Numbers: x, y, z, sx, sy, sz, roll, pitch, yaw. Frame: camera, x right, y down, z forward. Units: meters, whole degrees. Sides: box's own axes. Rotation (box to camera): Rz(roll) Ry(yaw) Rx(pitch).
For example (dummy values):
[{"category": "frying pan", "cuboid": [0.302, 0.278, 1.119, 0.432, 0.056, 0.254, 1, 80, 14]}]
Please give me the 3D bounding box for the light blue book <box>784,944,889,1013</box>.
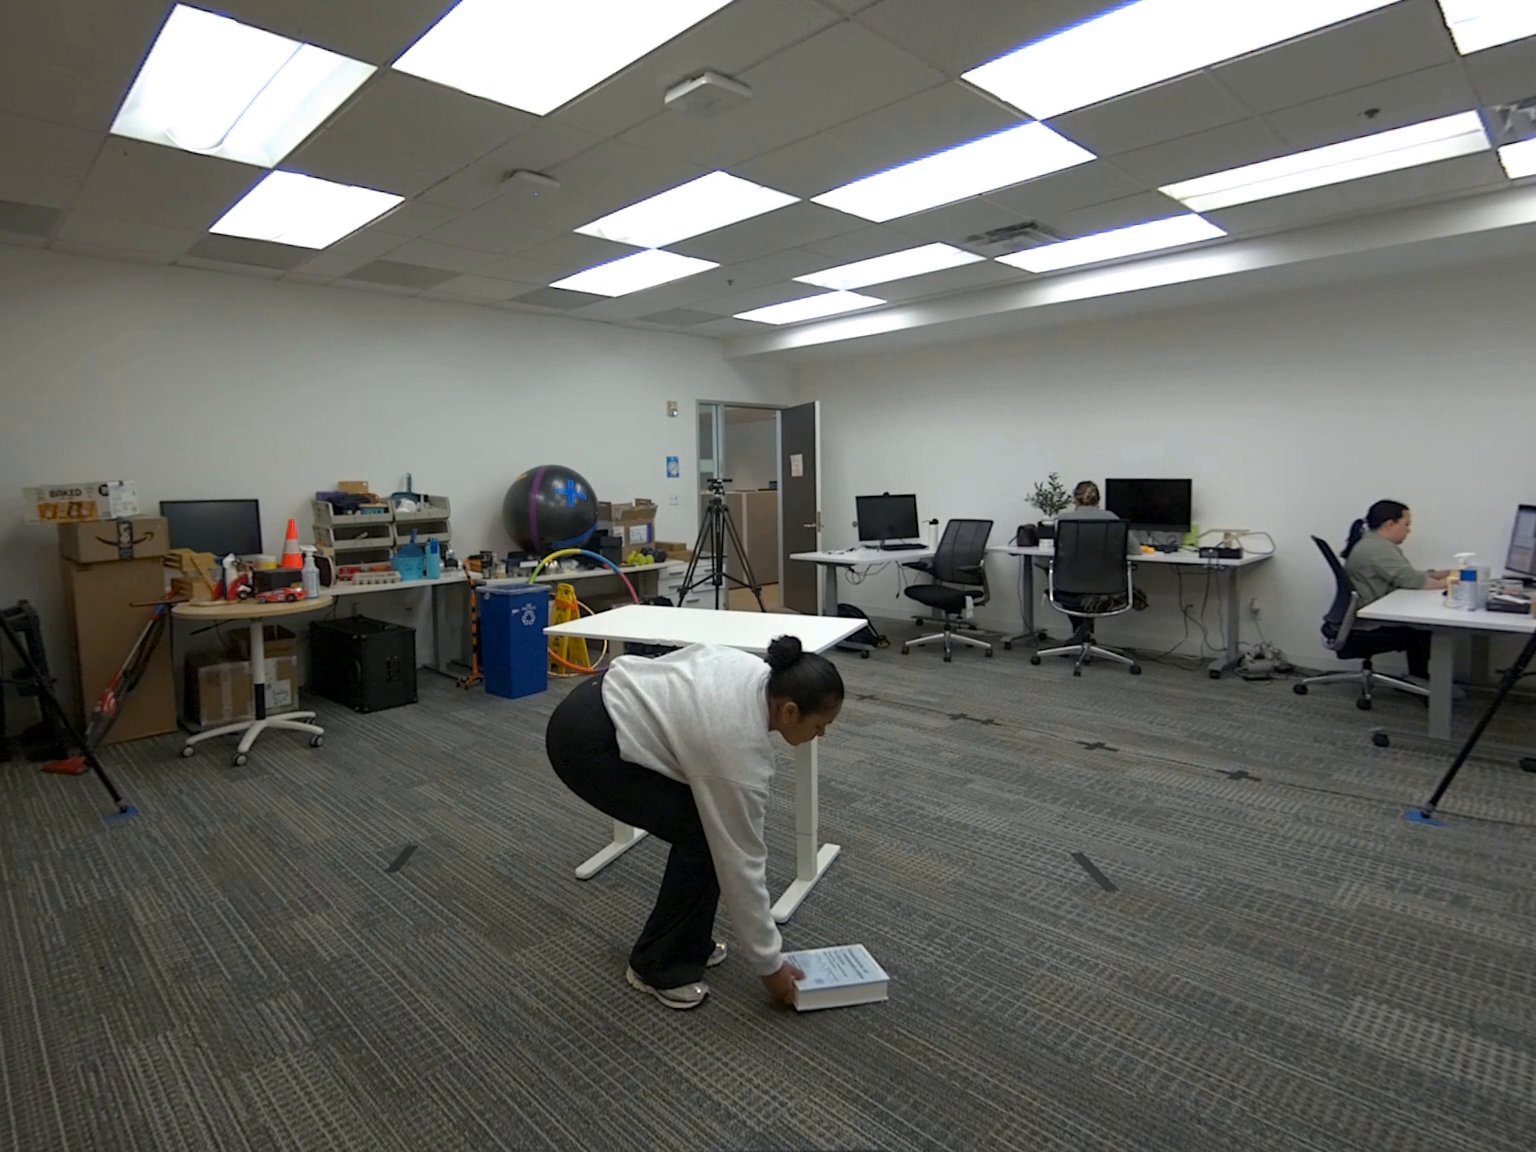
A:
[{"category": "light blue book", "cuboid": [0.174, 1.089, 2.335, 0.257, 0.059, 0.195, 0, 5, -17]}]
